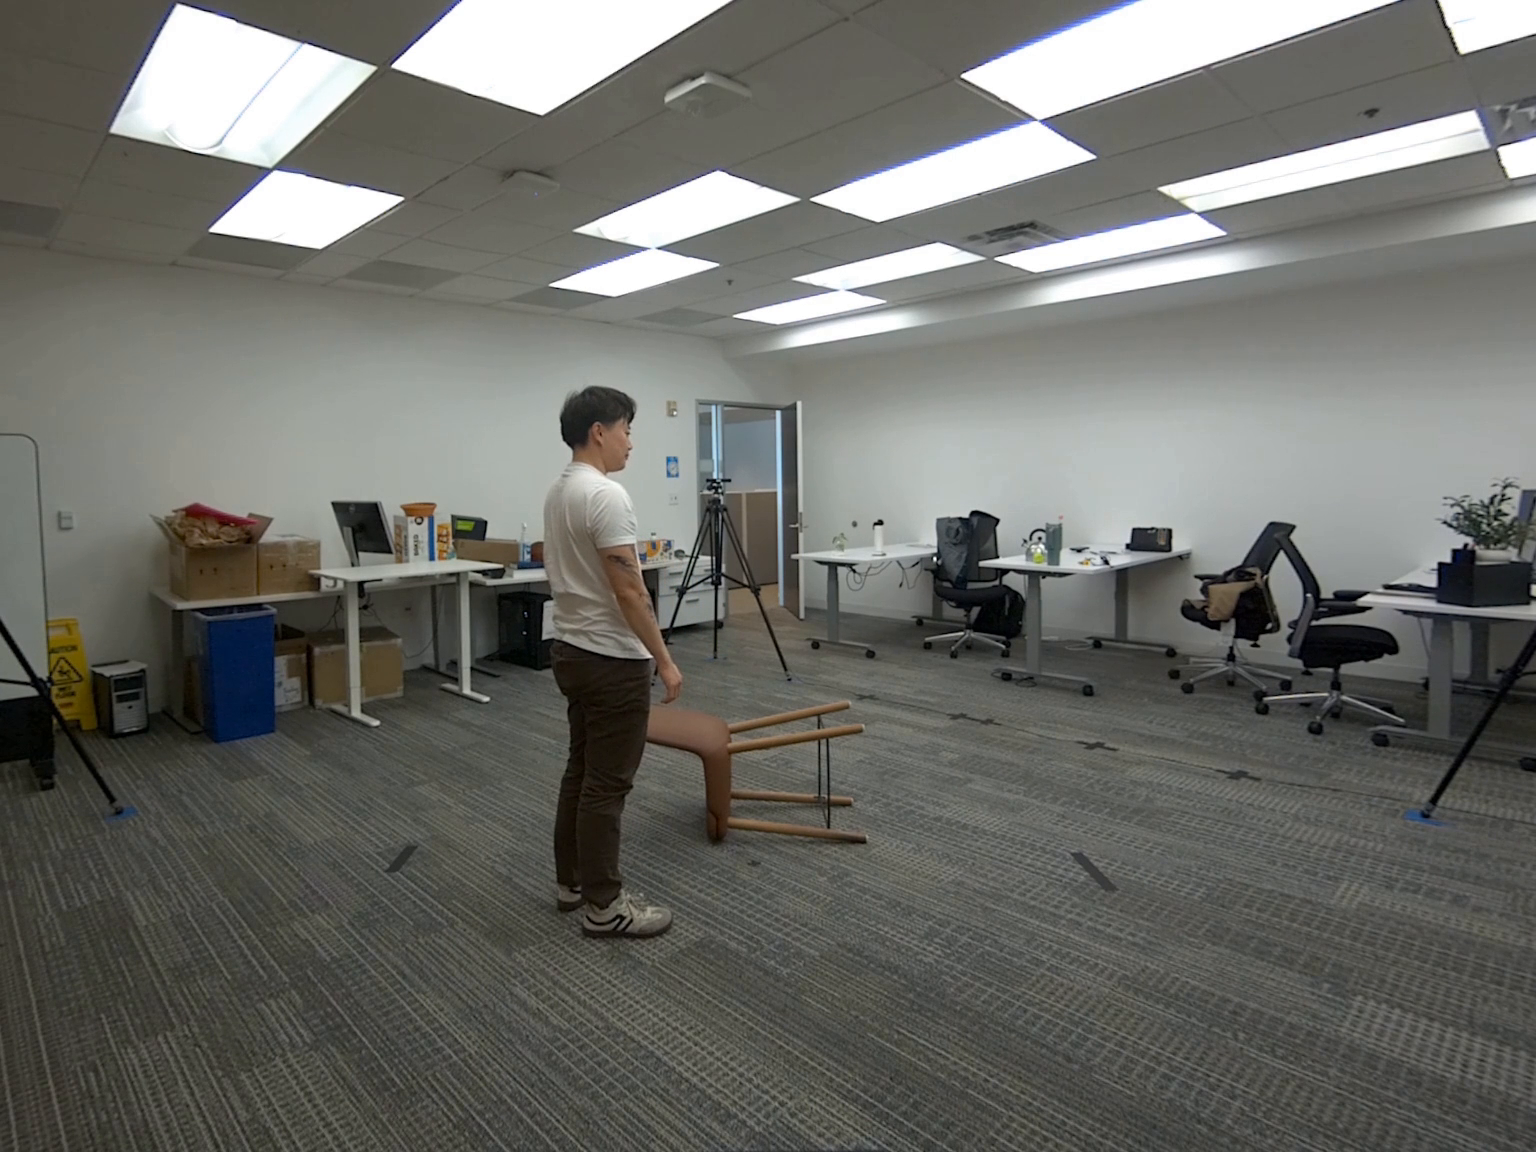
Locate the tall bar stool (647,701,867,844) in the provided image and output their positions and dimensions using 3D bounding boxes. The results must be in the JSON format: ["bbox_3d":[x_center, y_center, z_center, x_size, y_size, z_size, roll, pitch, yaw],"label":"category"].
[{"bbox_3d":[-0.076,0.776,3.447,0.889,0.466,0.459,0,5,-1],"label":"tall bar stool"}]
